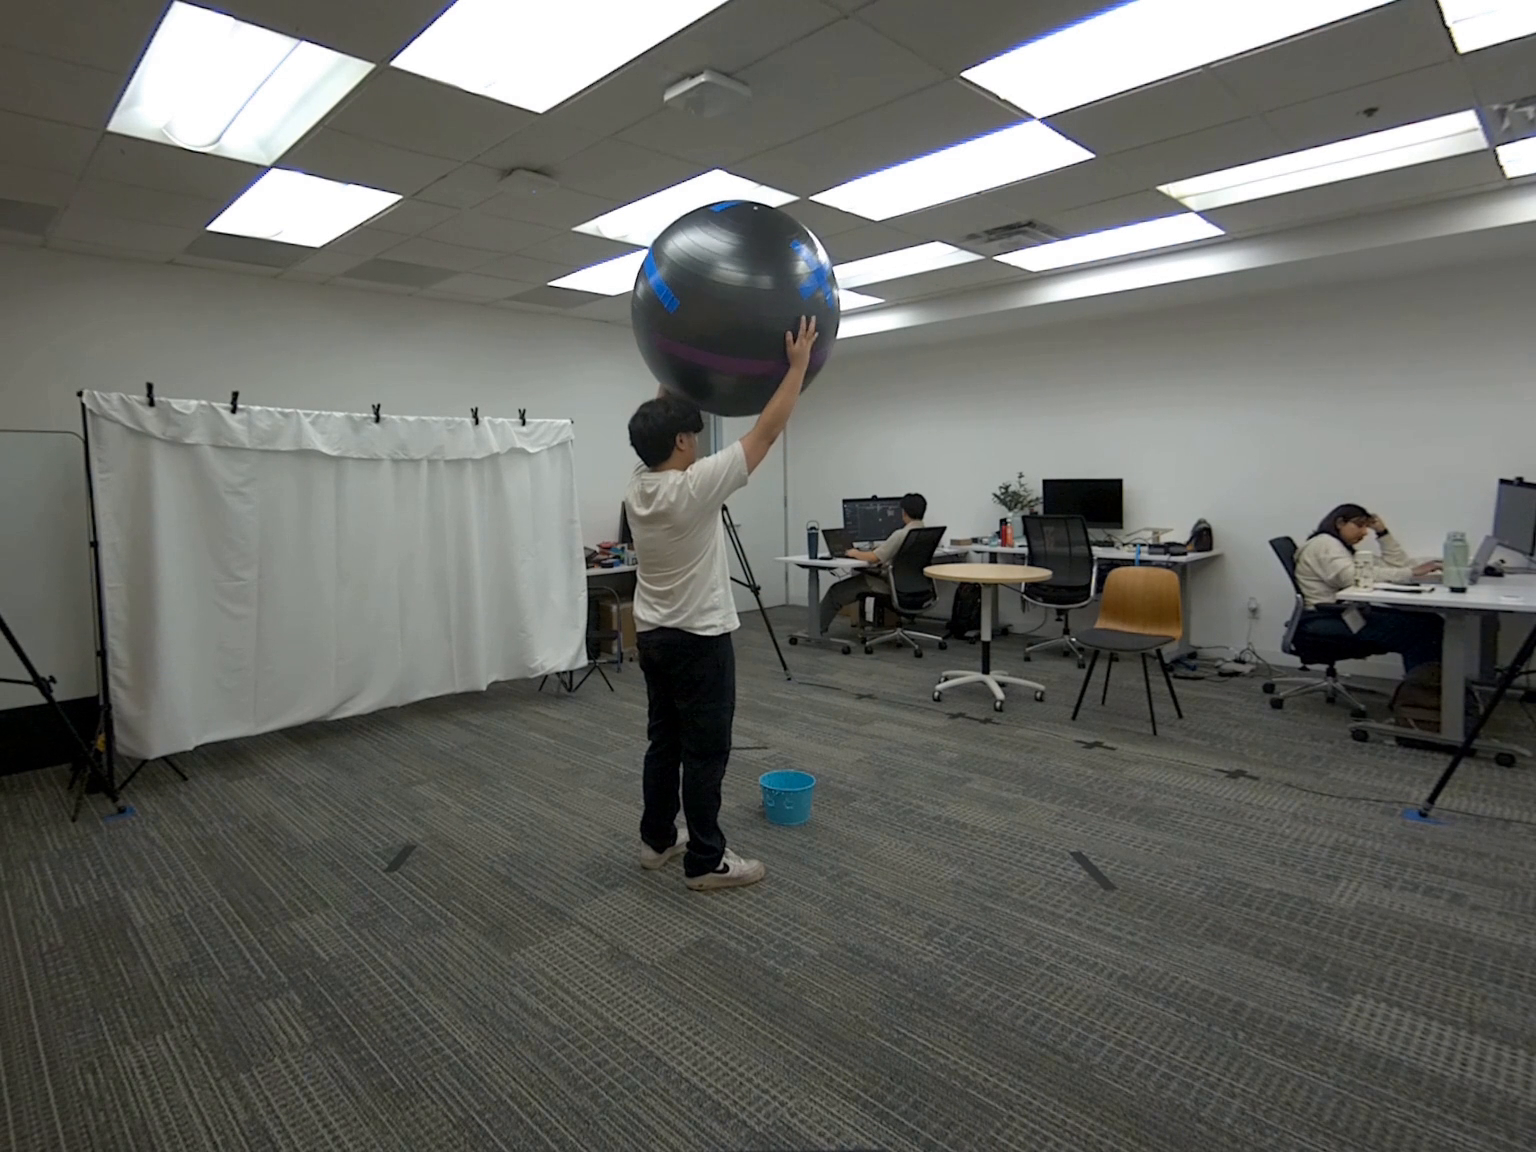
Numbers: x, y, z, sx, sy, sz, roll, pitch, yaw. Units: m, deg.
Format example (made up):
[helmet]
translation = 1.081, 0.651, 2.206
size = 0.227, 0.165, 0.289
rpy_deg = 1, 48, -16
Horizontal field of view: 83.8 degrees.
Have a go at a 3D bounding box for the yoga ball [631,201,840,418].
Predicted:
[yoga ball]
translation = -0.115, -0.953, 3.106
size = 0.757, 0.755, 0.762
rpy_deg = -1, 5, -2
